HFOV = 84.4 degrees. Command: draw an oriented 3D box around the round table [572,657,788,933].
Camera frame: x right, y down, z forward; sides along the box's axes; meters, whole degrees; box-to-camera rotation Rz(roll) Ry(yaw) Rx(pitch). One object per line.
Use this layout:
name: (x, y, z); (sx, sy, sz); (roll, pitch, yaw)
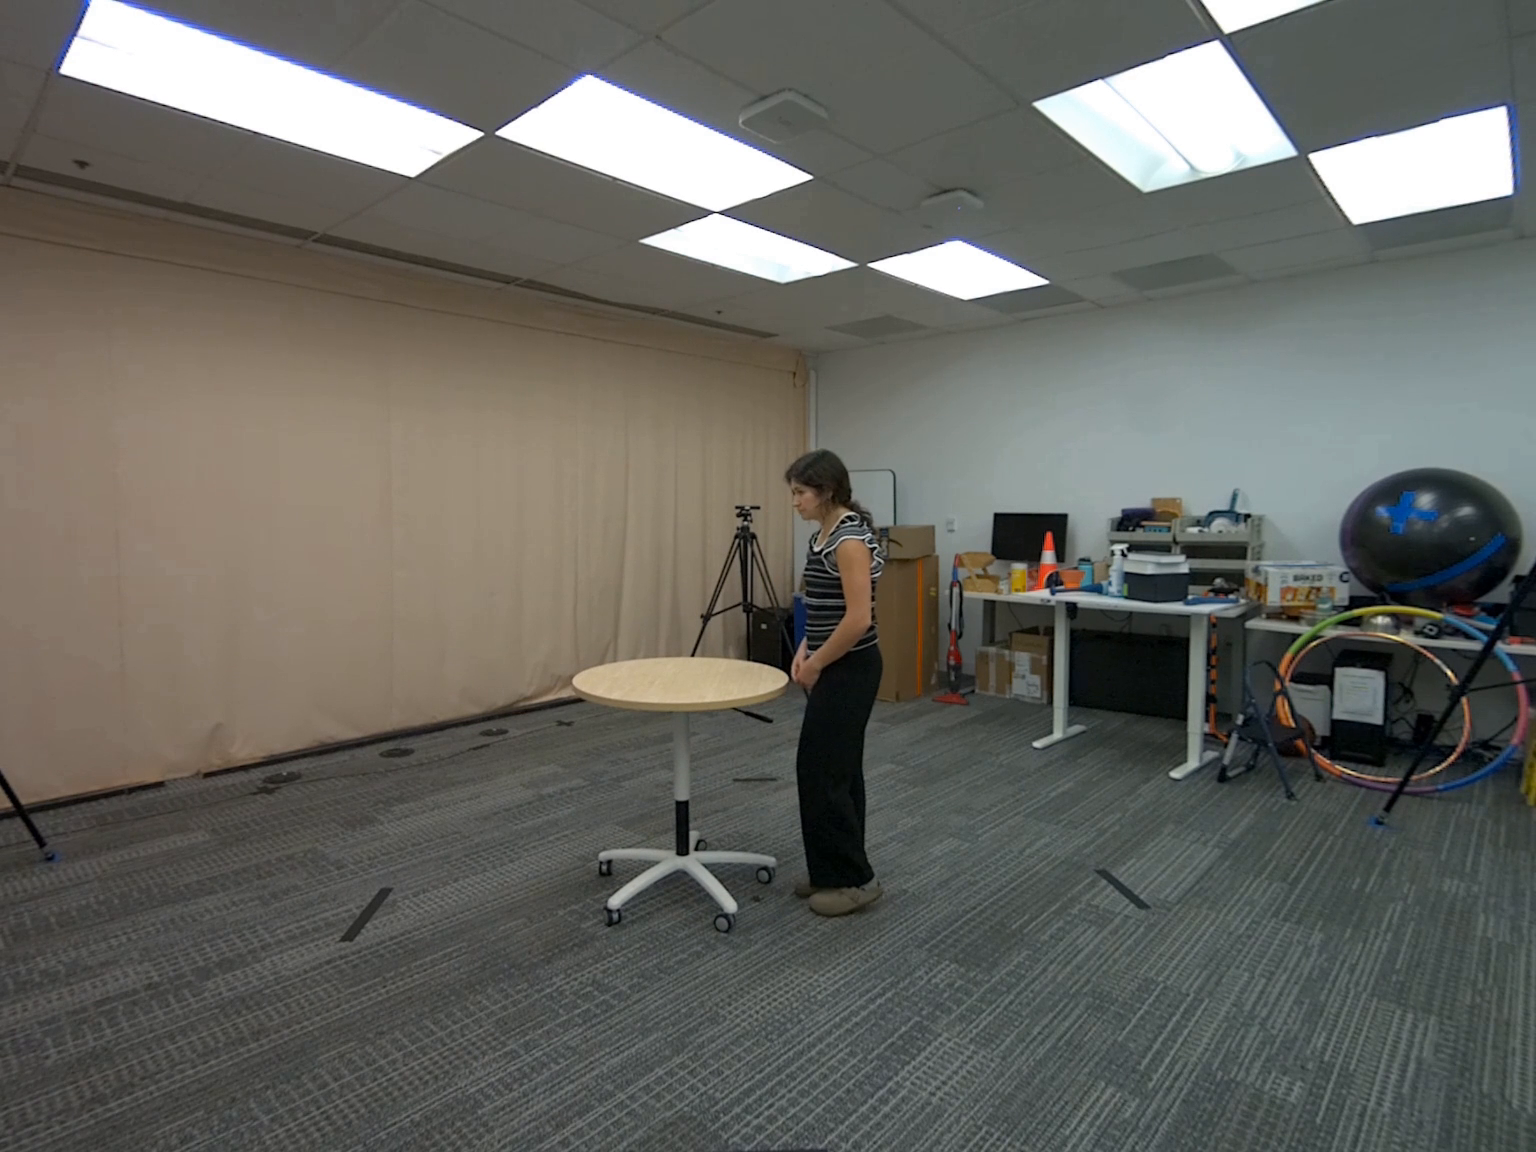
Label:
round table: (-0.297, 0.751, 3.028); (0.784, 0.784, 0.788); (-1, 4, -2)
